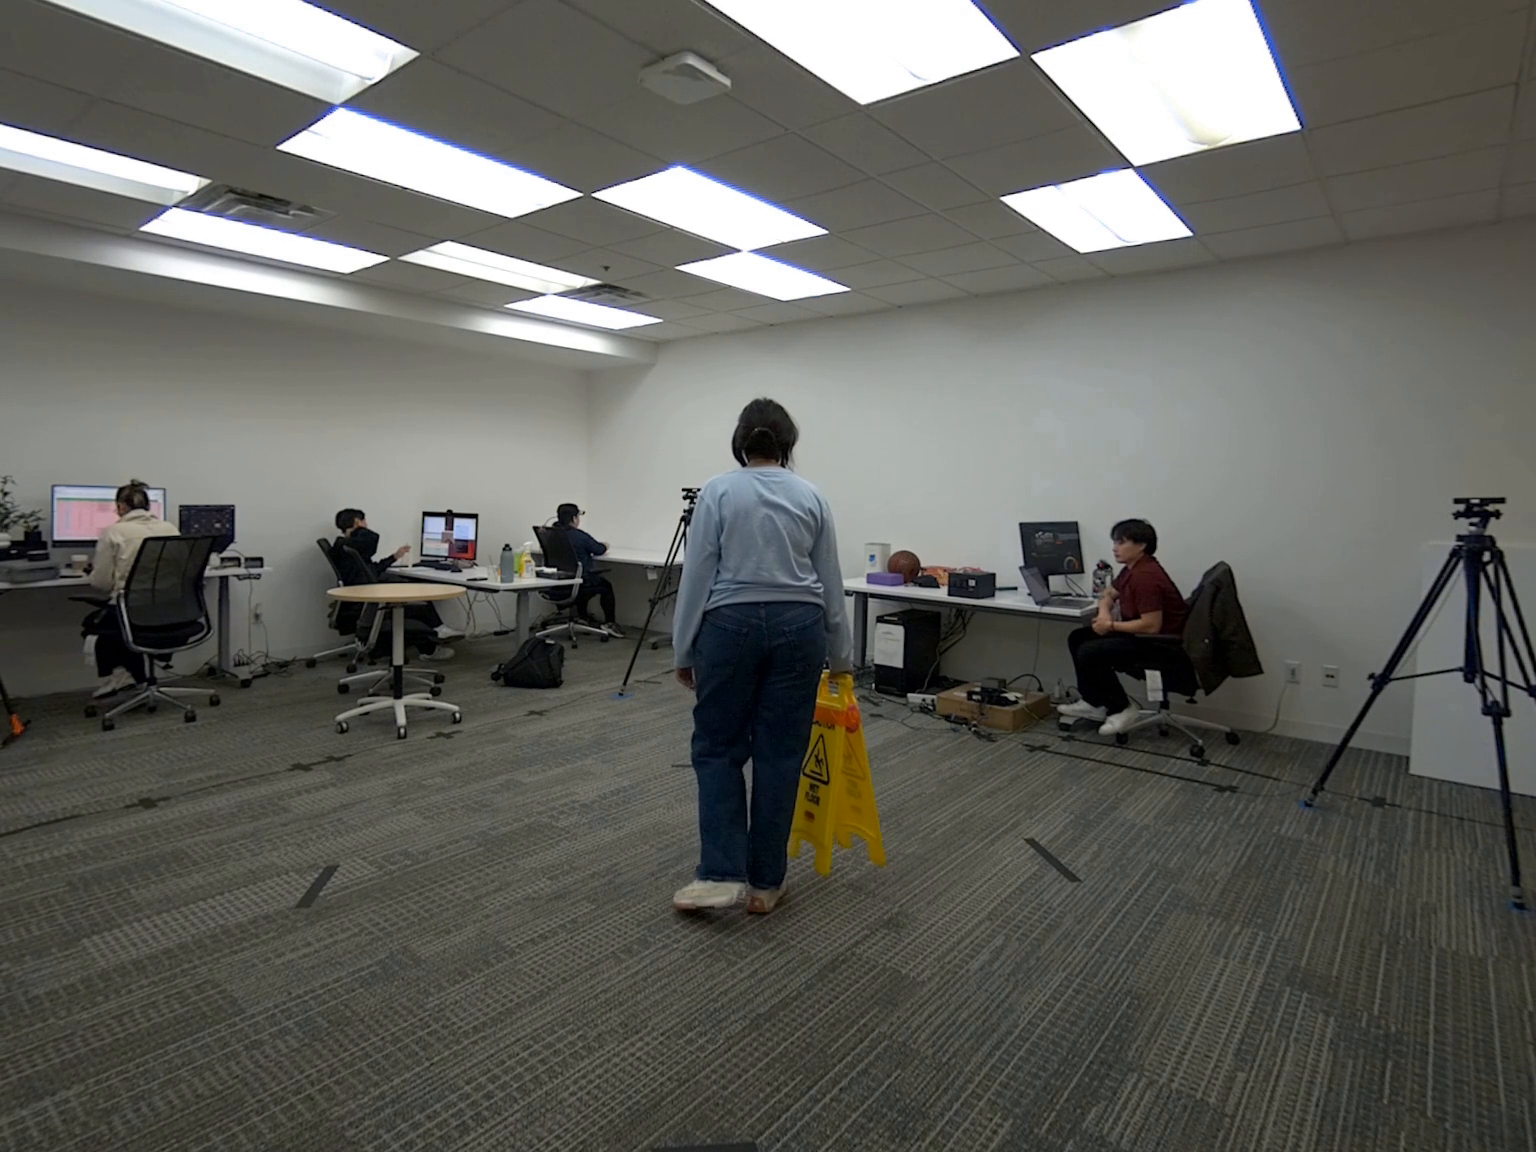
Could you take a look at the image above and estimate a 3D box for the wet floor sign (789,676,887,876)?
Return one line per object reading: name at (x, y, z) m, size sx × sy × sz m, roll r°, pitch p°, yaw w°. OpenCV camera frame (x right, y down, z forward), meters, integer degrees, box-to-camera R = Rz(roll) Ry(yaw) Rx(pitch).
wet floor sign at (0.226, 0.666, 2.995) m, size 0.282 × 0.648 × 0.289 m, roll 2°, pitch -3°, yaw -27°
